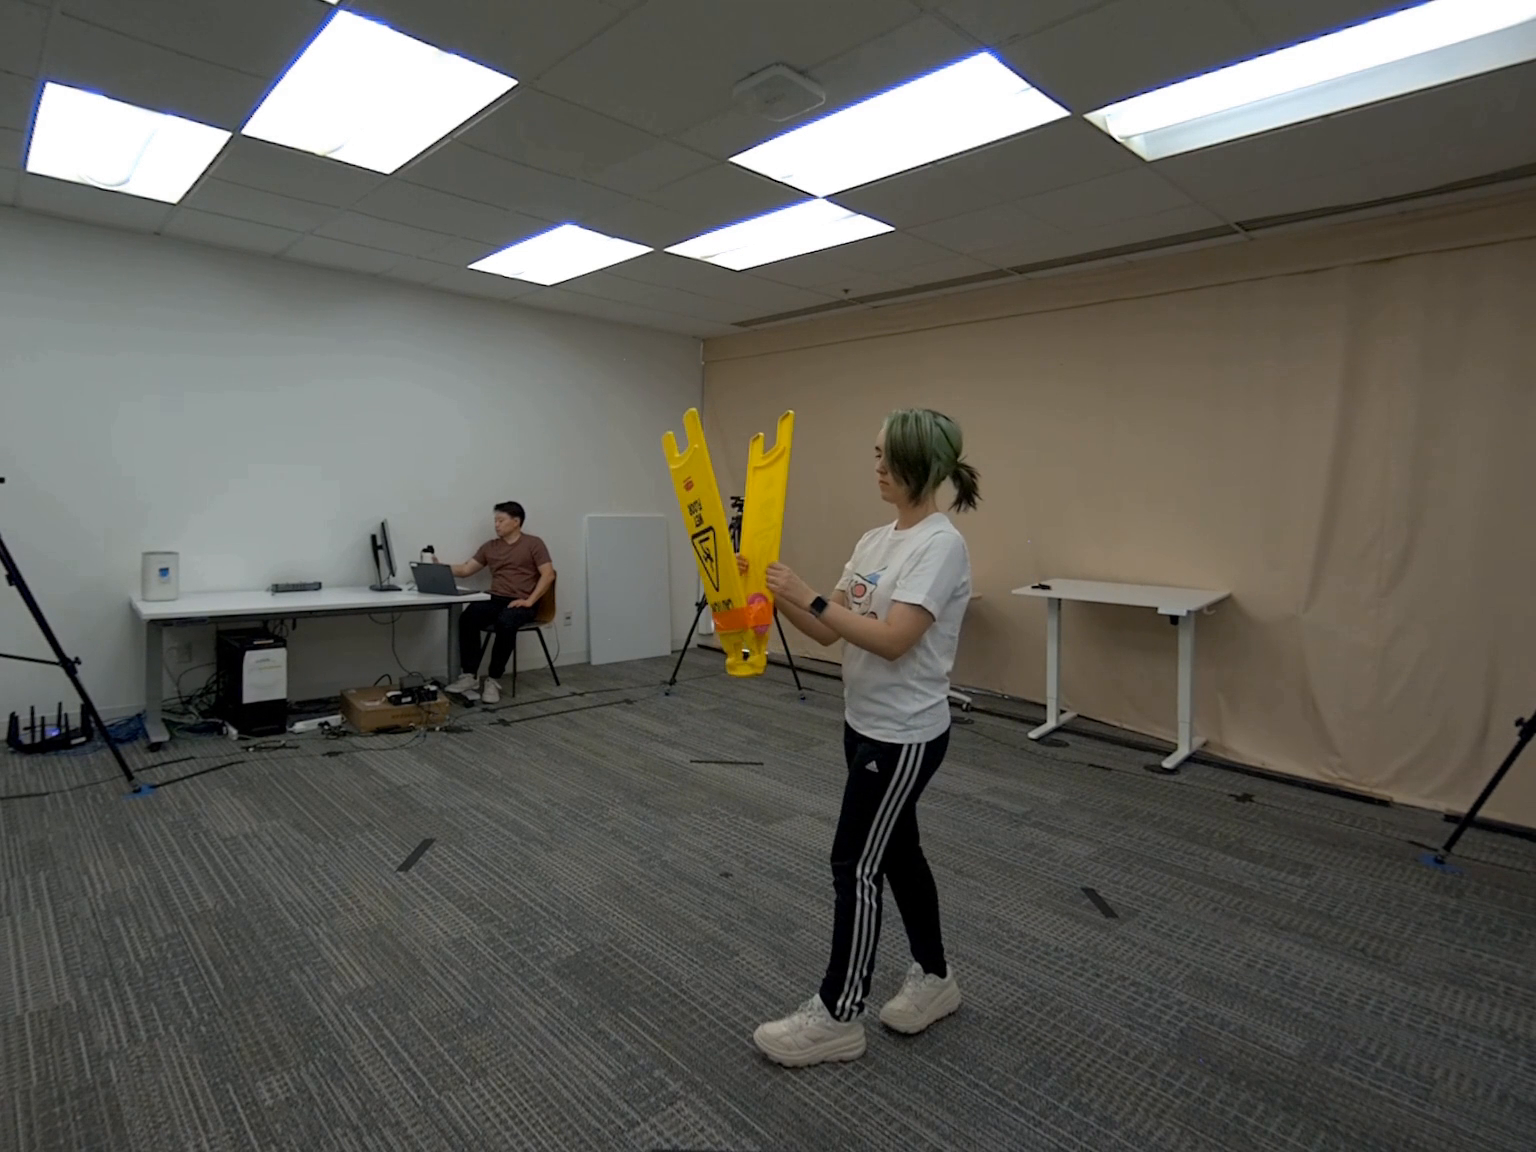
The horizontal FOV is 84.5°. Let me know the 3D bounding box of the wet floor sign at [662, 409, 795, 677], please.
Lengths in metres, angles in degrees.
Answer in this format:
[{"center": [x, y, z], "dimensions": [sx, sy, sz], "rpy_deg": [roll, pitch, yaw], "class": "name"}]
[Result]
[{"center": [-0.086, -0.072, 2.146], "dimensions": [0.285, 0.651, 0.284], "rpy_deg": [-1, -9, -21], "class": "wet floor sign"}]
